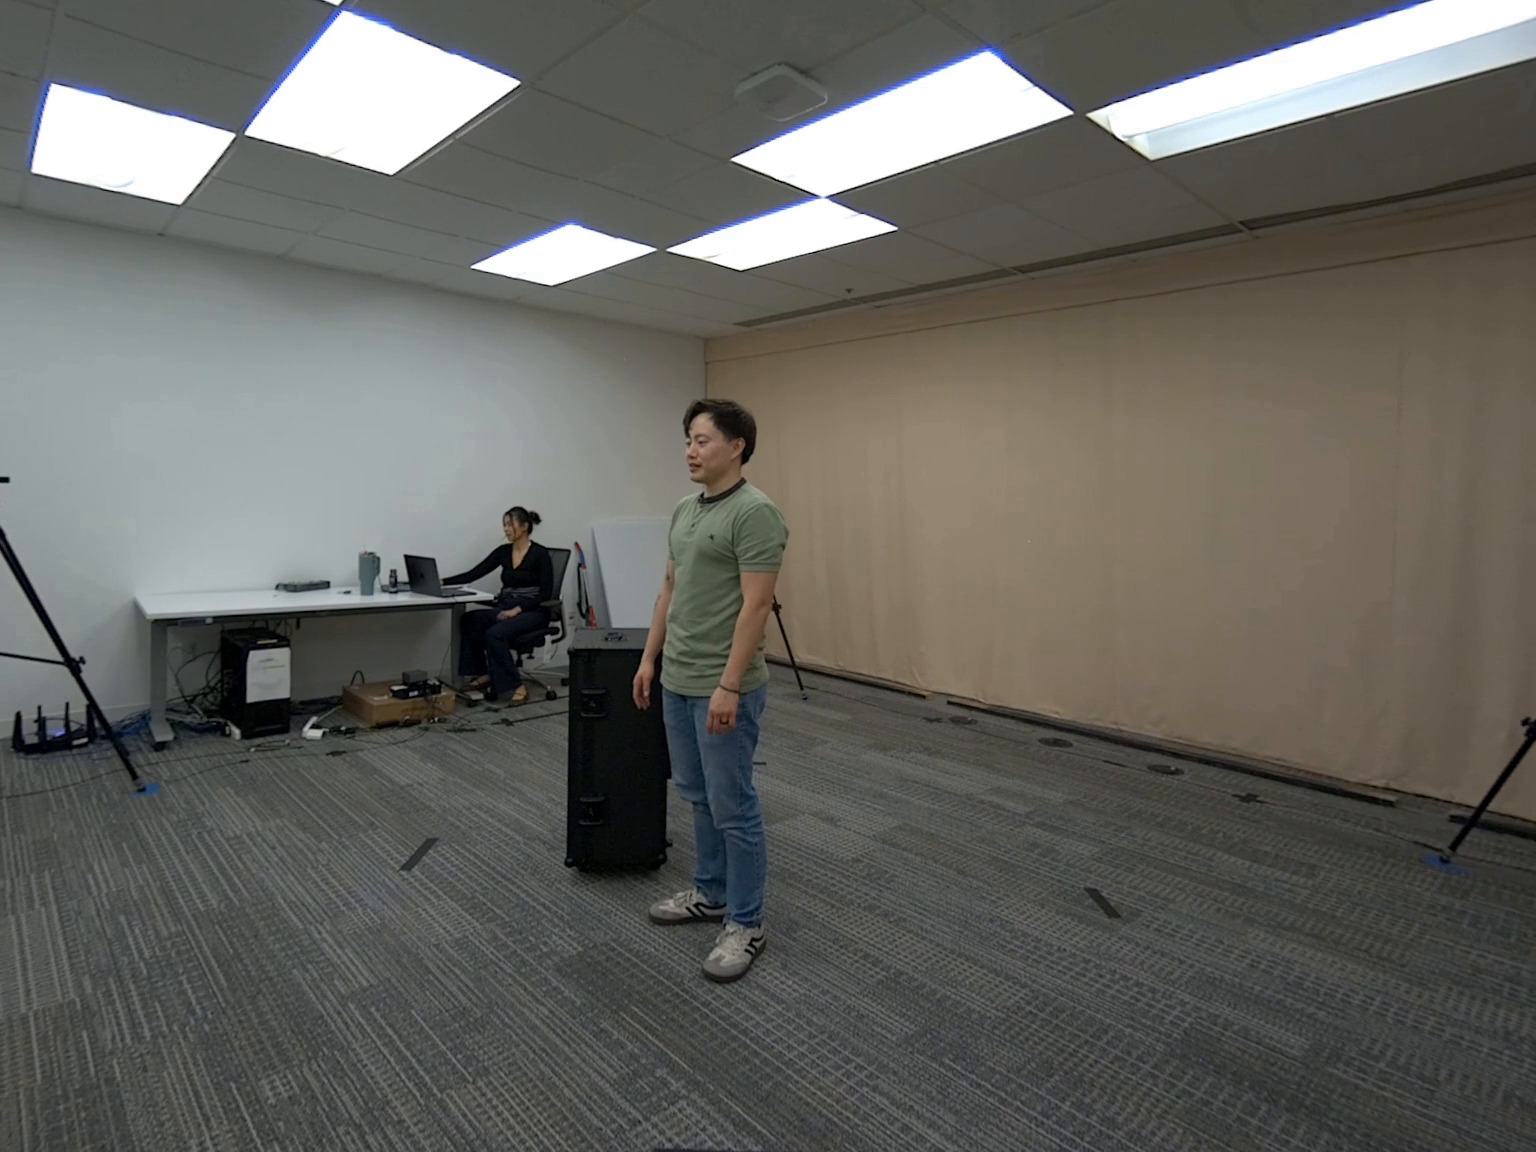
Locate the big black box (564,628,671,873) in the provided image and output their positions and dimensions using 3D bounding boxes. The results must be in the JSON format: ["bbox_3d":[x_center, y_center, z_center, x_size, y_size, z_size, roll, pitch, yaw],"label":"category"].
[{"bbox_3d":[-0.570,0.597,3.206,0.393,0.859,0.526,1,4,-10],"label":"big black box"}]
